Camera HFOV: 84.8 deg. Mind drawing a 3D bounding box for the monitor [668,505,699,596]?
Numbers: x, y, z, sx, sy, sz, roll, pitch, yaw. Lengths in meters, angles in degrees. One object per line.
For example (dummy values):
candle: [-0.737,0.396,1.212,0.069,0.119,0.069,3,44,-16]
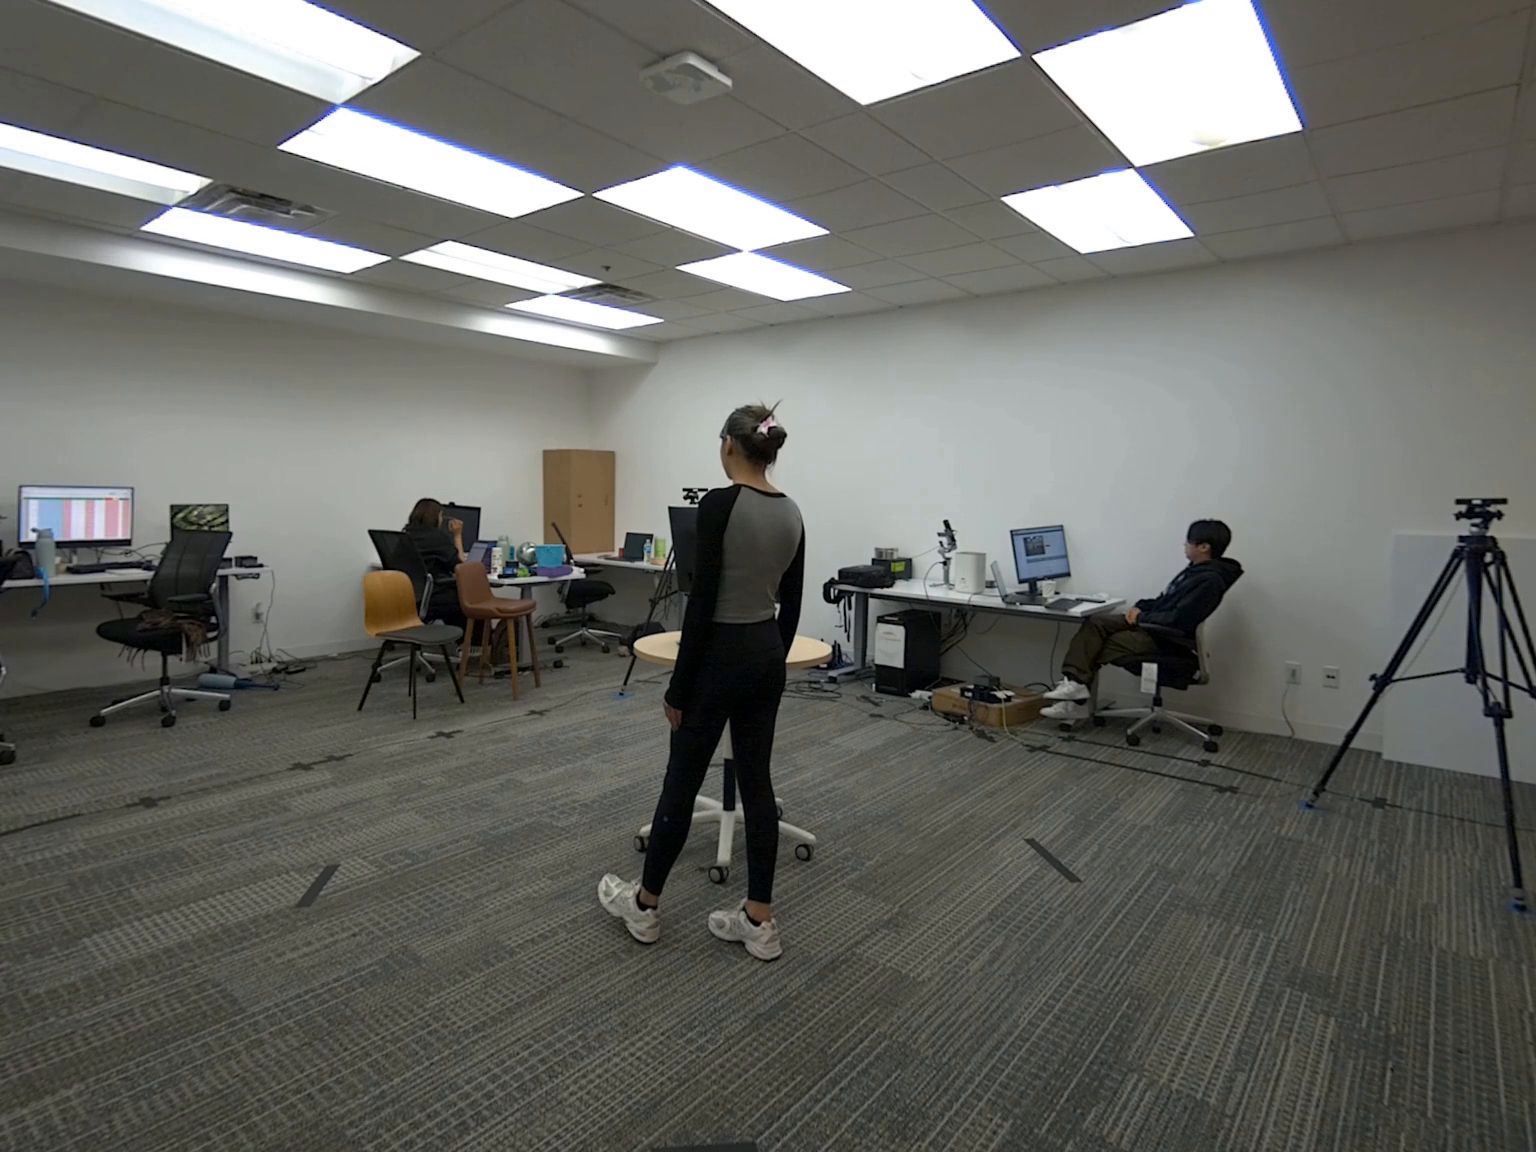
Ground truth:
monitor: [-0.200,0.004,3.252,0.557,0.522,0.181,5,3,40]
